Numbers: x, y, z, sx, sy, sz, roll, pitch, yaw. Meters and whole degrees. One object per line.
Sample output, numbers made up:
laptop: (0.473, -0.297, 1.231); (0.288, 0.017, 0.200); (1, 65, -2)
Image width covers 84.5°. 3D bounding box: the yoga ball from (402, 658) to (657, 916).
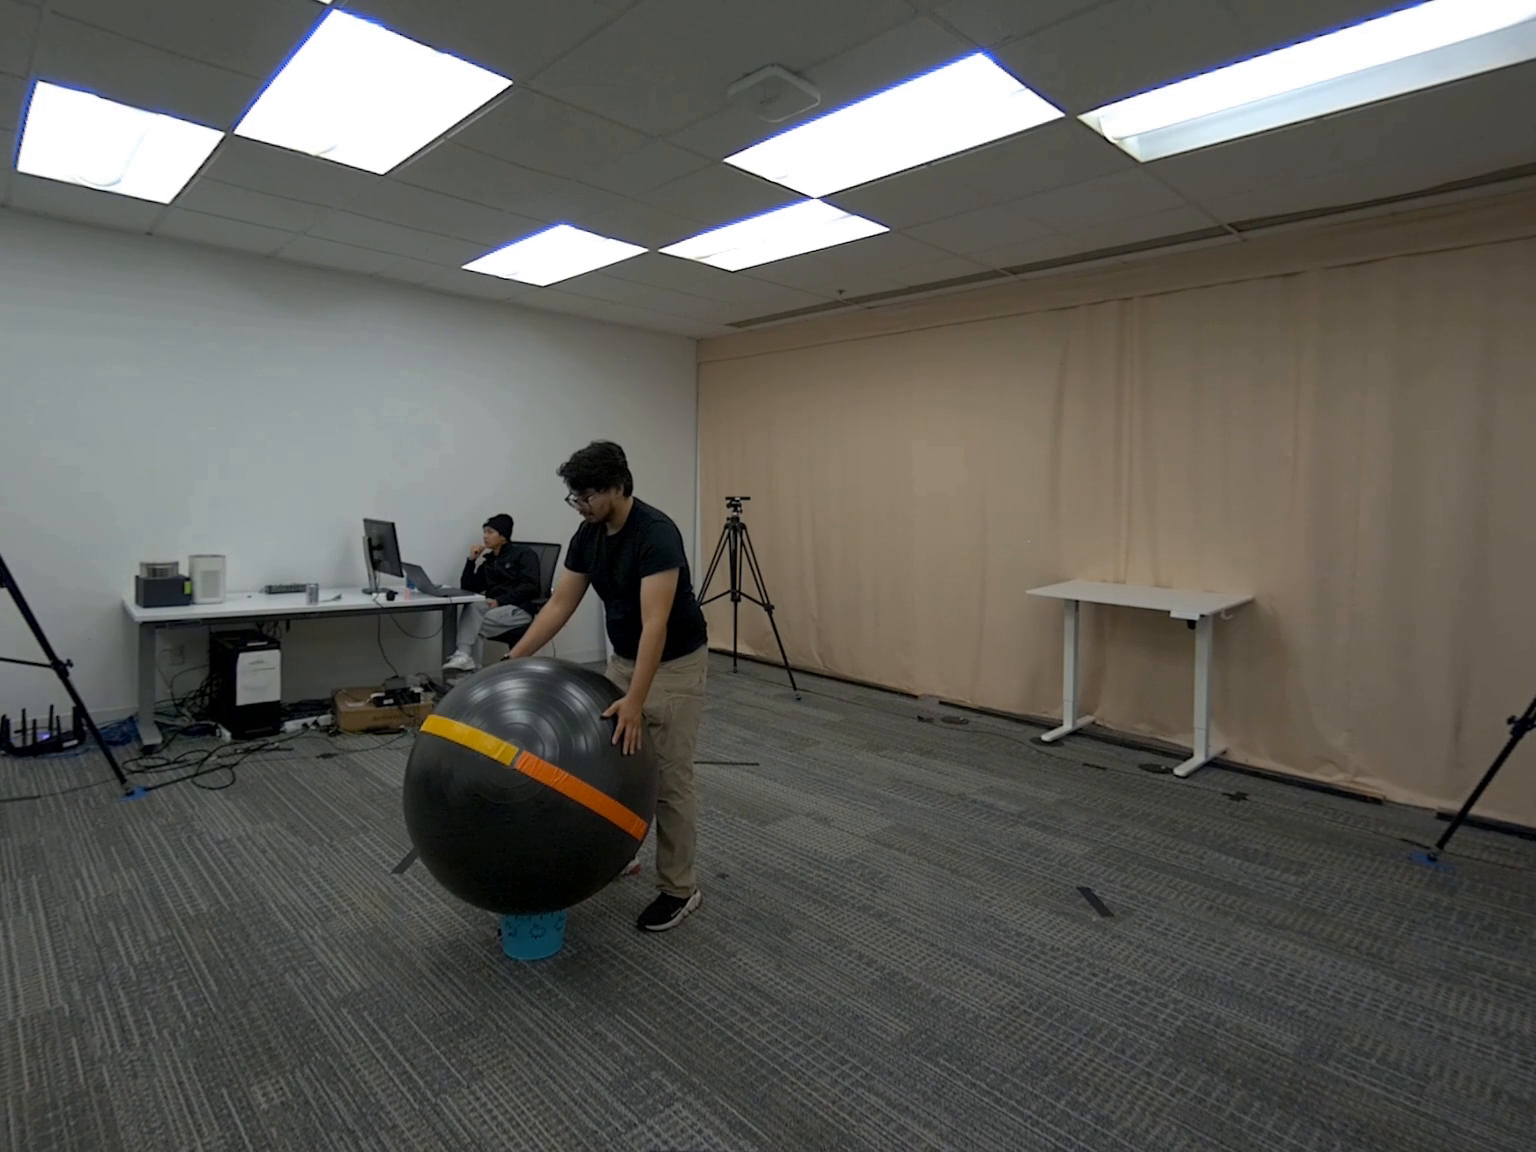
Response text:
yoga ball: (-0.720, 0.637, 2.582); (0.757, 0.756, 0.761); (1, 4, -1)
